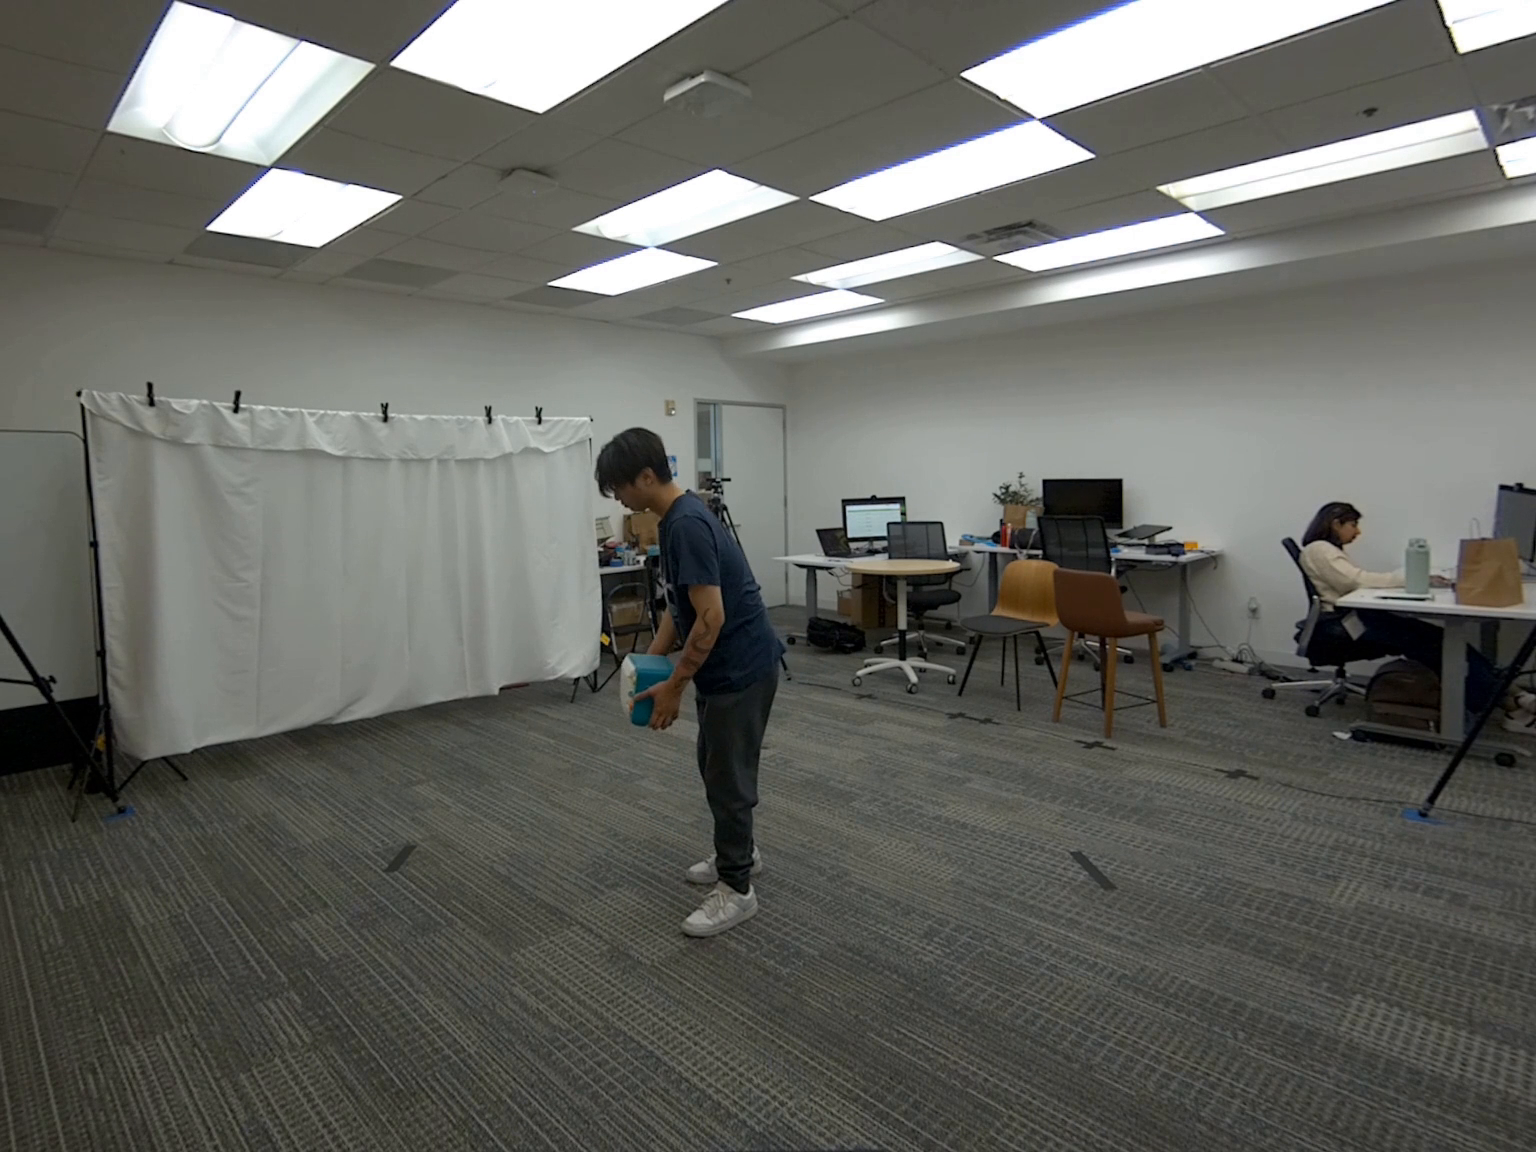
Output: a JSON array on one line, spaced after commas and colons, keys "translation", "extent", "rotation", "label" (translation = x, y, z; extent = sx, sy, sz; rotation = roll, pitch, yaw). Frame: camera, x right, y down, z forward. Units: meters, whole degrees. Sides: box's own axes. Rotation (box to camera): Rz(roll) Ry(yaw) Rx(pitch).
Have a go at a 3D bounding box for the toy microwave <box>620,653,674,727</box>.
[{"translation": [-0.384, 0.361, 2.734], "extent": [0.150, 0.184, 0.291], "rotation": [6, 3, -16], "label": "toy microwave"}]
